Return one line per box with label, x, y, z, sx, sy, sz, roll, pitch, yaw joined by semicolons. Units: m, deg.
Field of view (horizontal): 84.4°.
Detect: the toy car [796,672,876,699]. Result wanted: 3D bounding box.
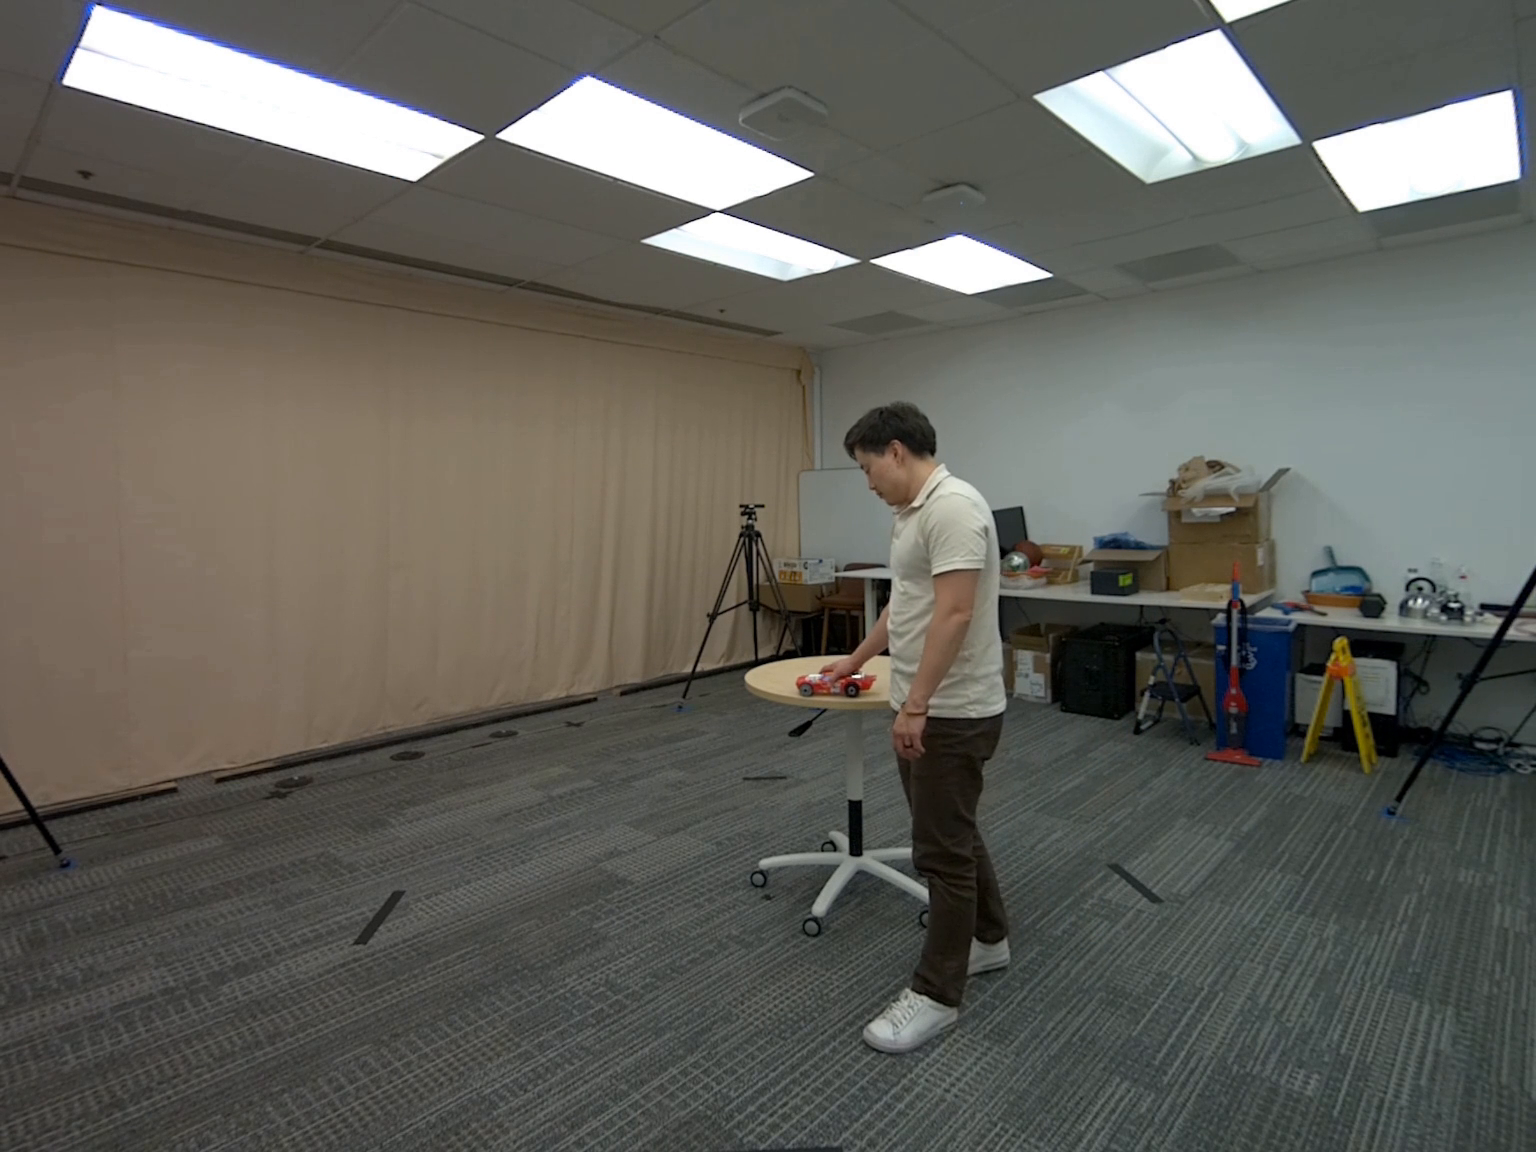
toy car;0.235;0.347;2.687;0.257;0.083;0.129;-13;2;11
